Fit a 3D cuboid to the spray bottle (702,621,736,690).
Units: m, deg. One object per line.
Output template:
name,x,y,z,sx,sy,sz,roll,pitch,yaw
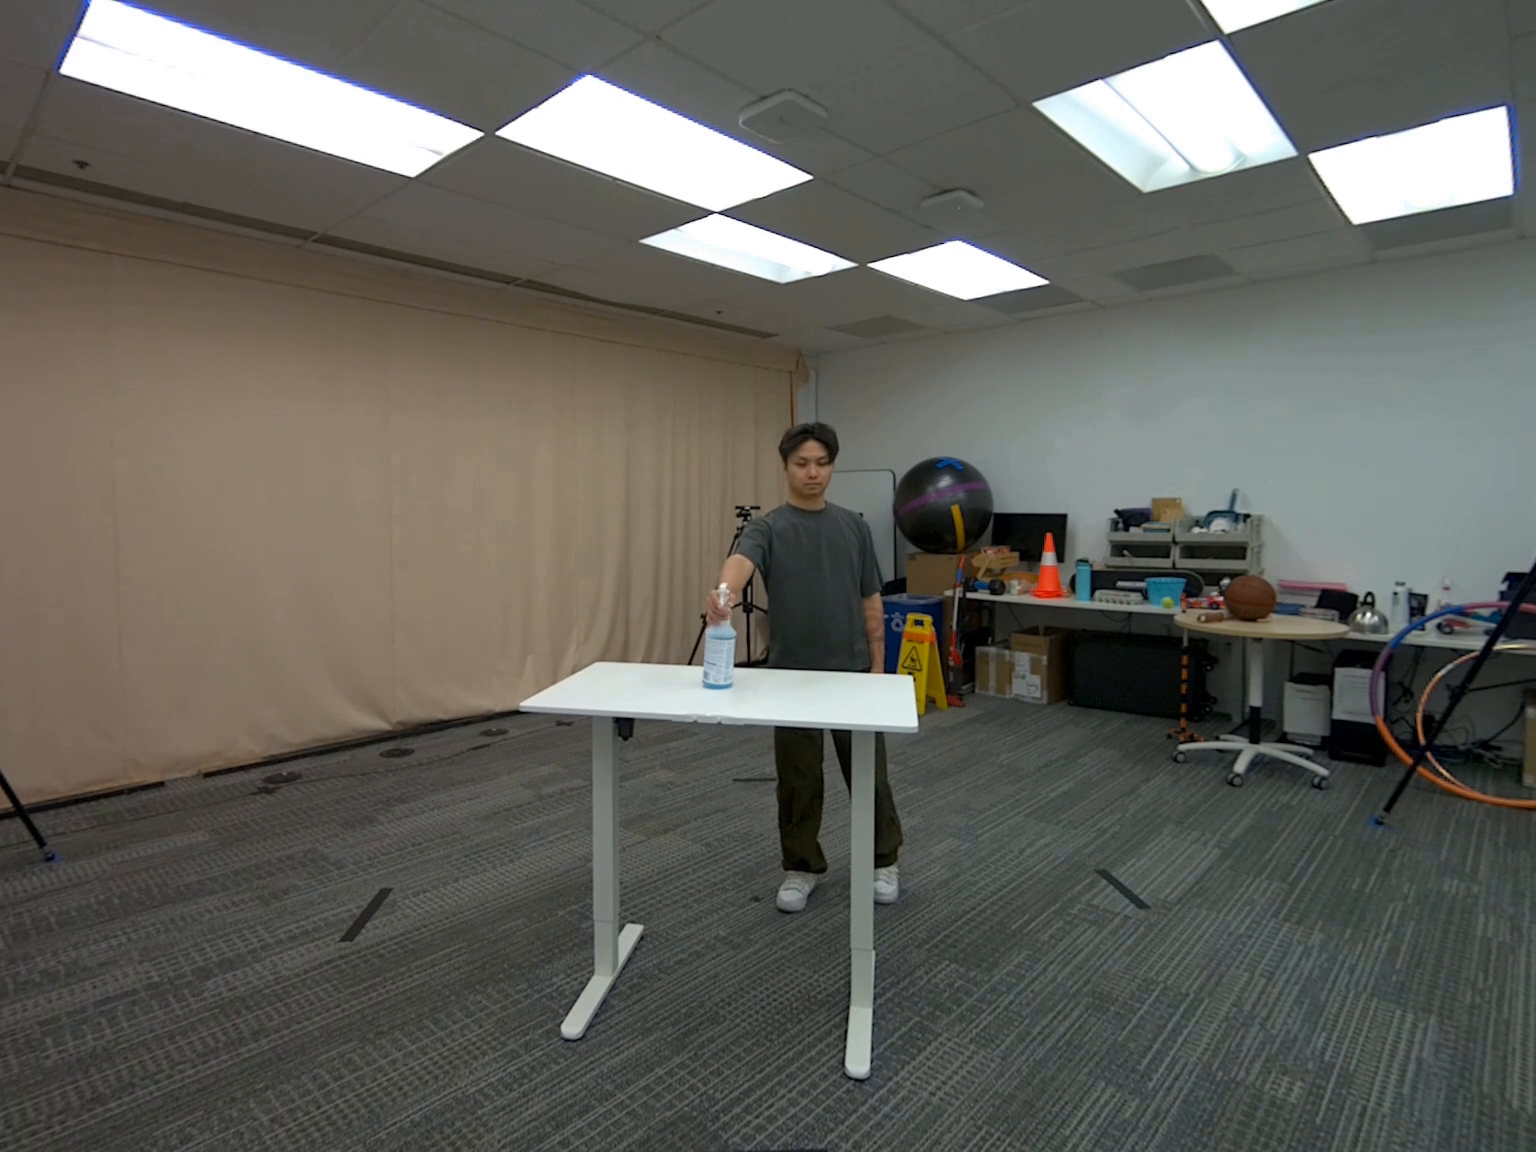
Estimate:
spray bottle,-0.128,0.166,2.359,0.090,0.296,0.088,11,12,29
